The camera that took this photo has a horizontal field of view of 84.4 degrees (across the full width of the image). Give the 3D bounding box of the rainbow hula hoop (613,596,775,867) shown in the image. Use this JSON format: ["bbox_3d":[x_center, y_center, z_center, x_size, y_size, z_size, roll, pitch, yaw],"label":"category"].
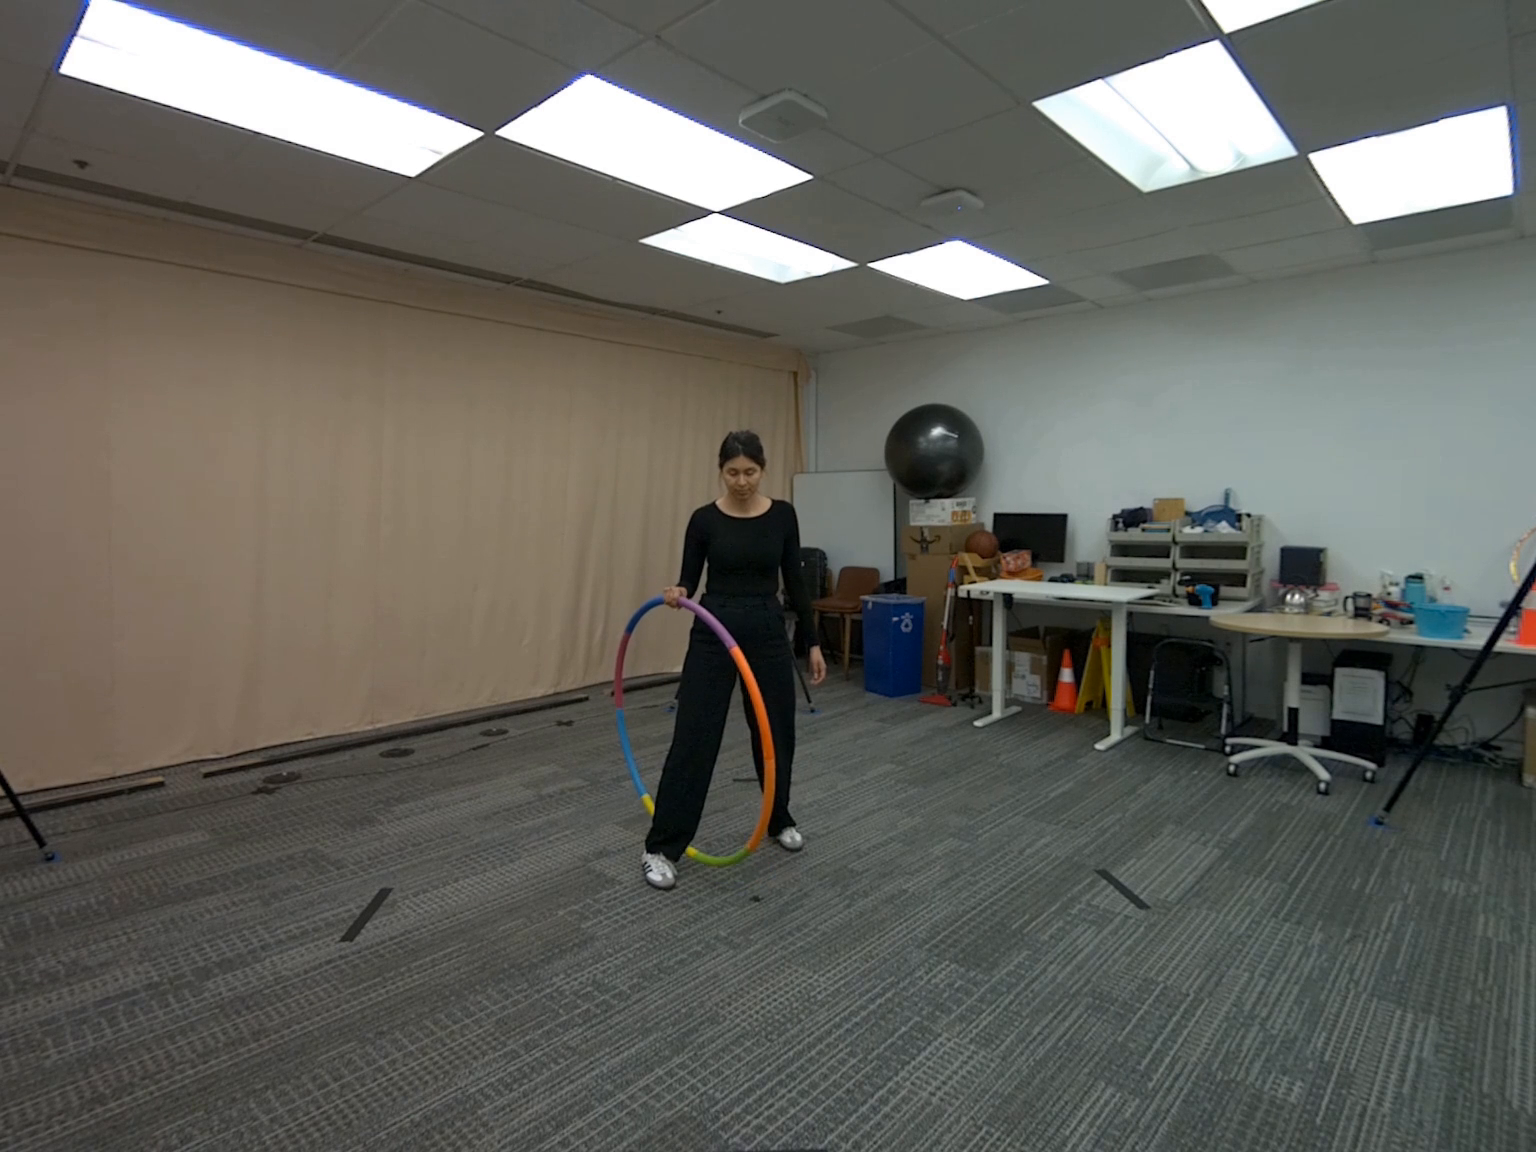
[{"bbox_3d":[-0.289,0.560,3.084,0.034,0.974,1.010,-8,8,-38],"label":"rainbow hula hoop"}]
